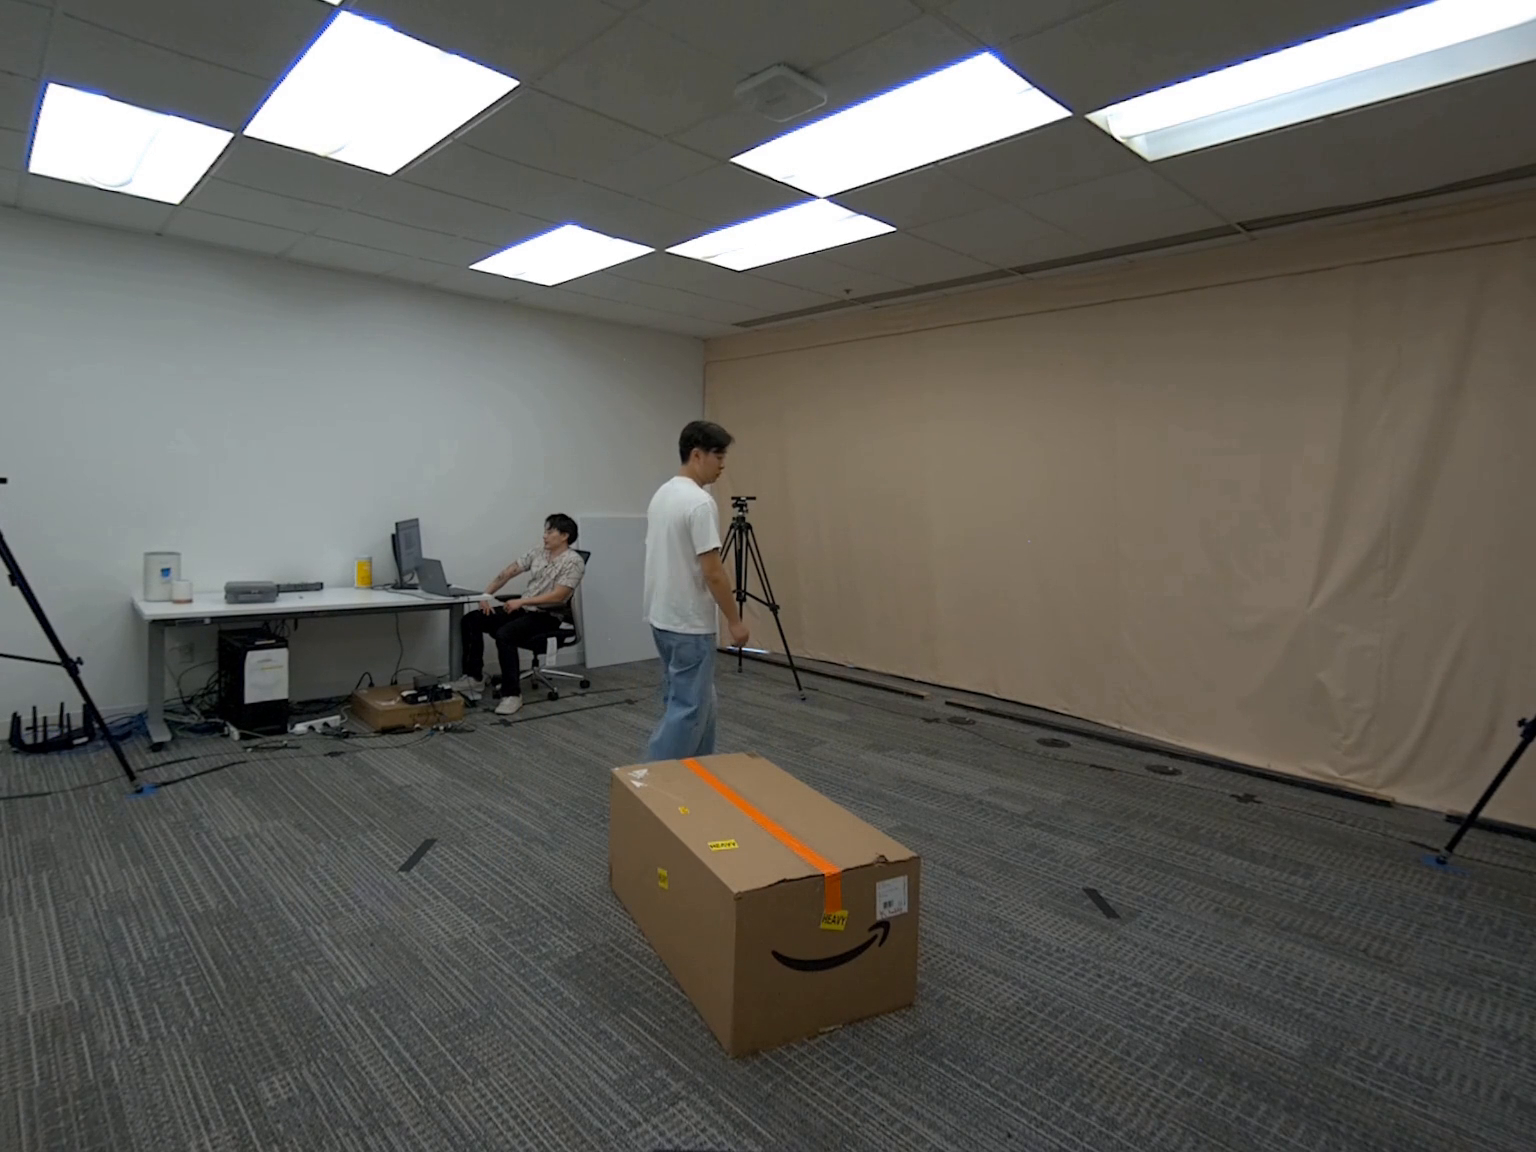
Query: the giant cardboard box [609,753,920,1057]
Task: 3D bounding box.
[{"bbox_3d":[-0.075,0.936,2.654,0.567,0.425,1.048,-1,6,-27],"label":"giant cardboard box"}]
